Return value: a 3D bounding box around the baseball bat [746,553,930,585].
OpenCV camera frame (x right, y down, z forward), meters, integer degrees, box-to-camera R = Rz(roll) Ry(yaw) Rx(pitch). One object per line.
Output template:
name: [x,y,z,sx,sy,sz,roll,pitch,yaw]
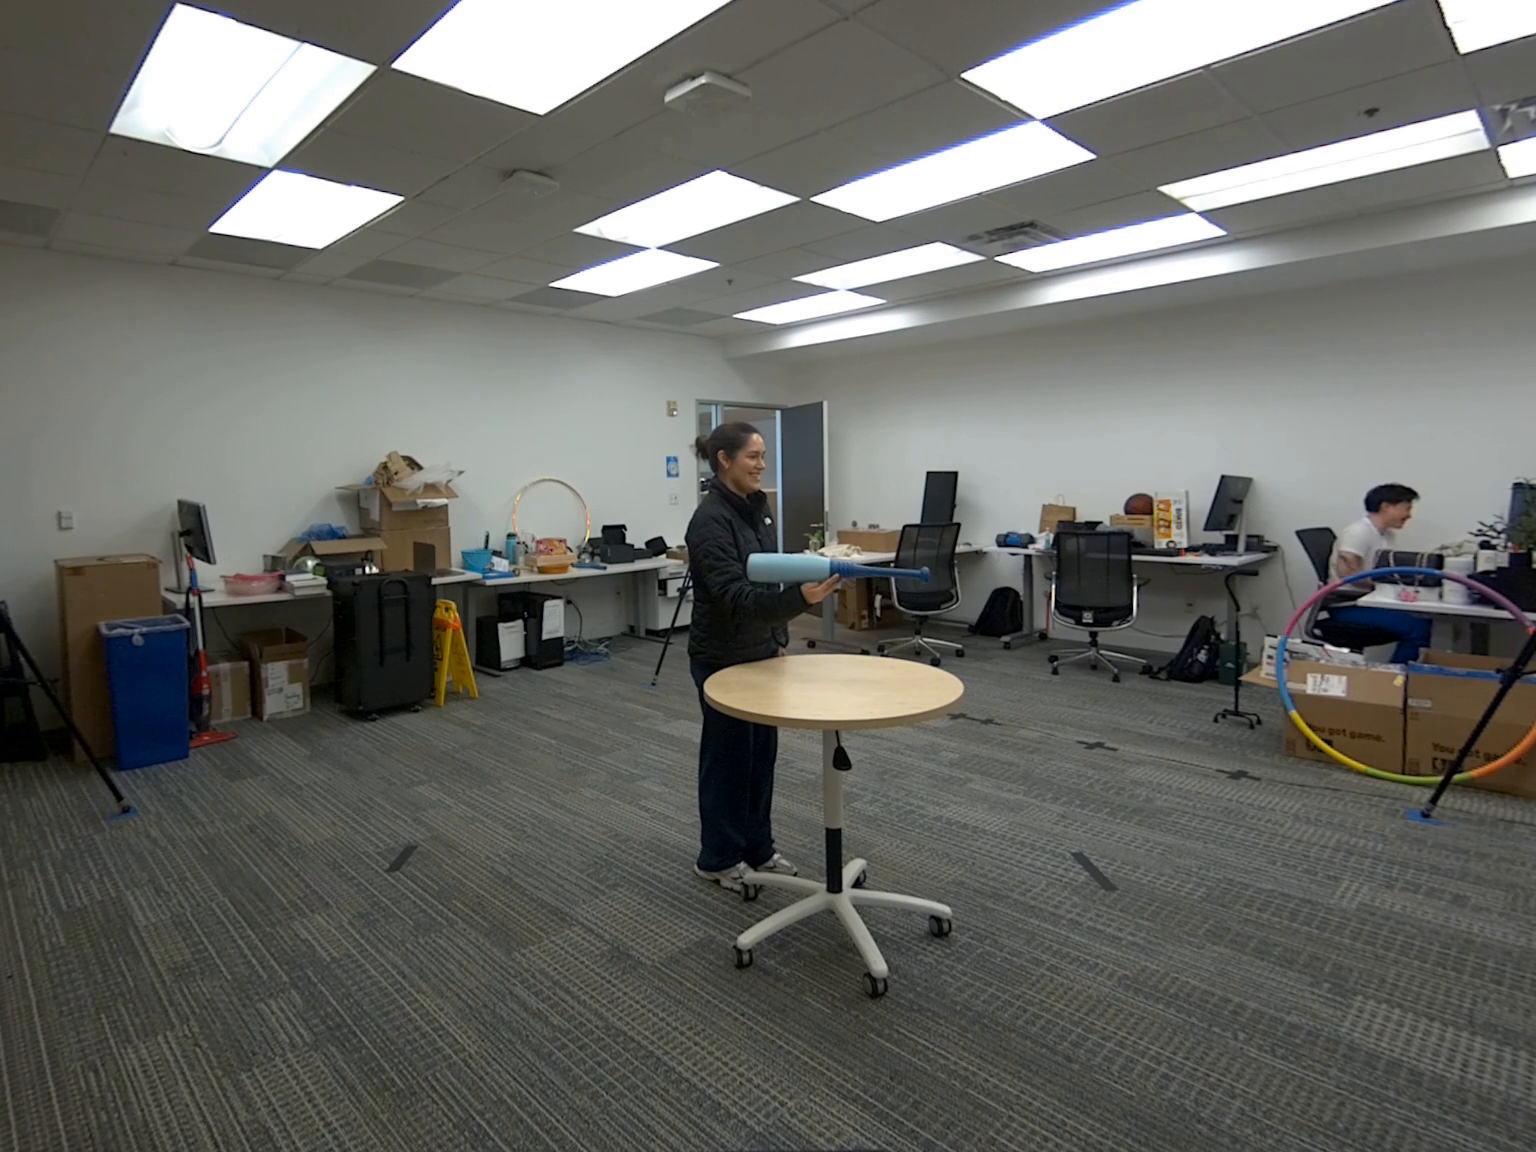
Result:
baseball bat: [0.206,-0.014,2.593,0.547,0.089,0.089,3,5,6]
